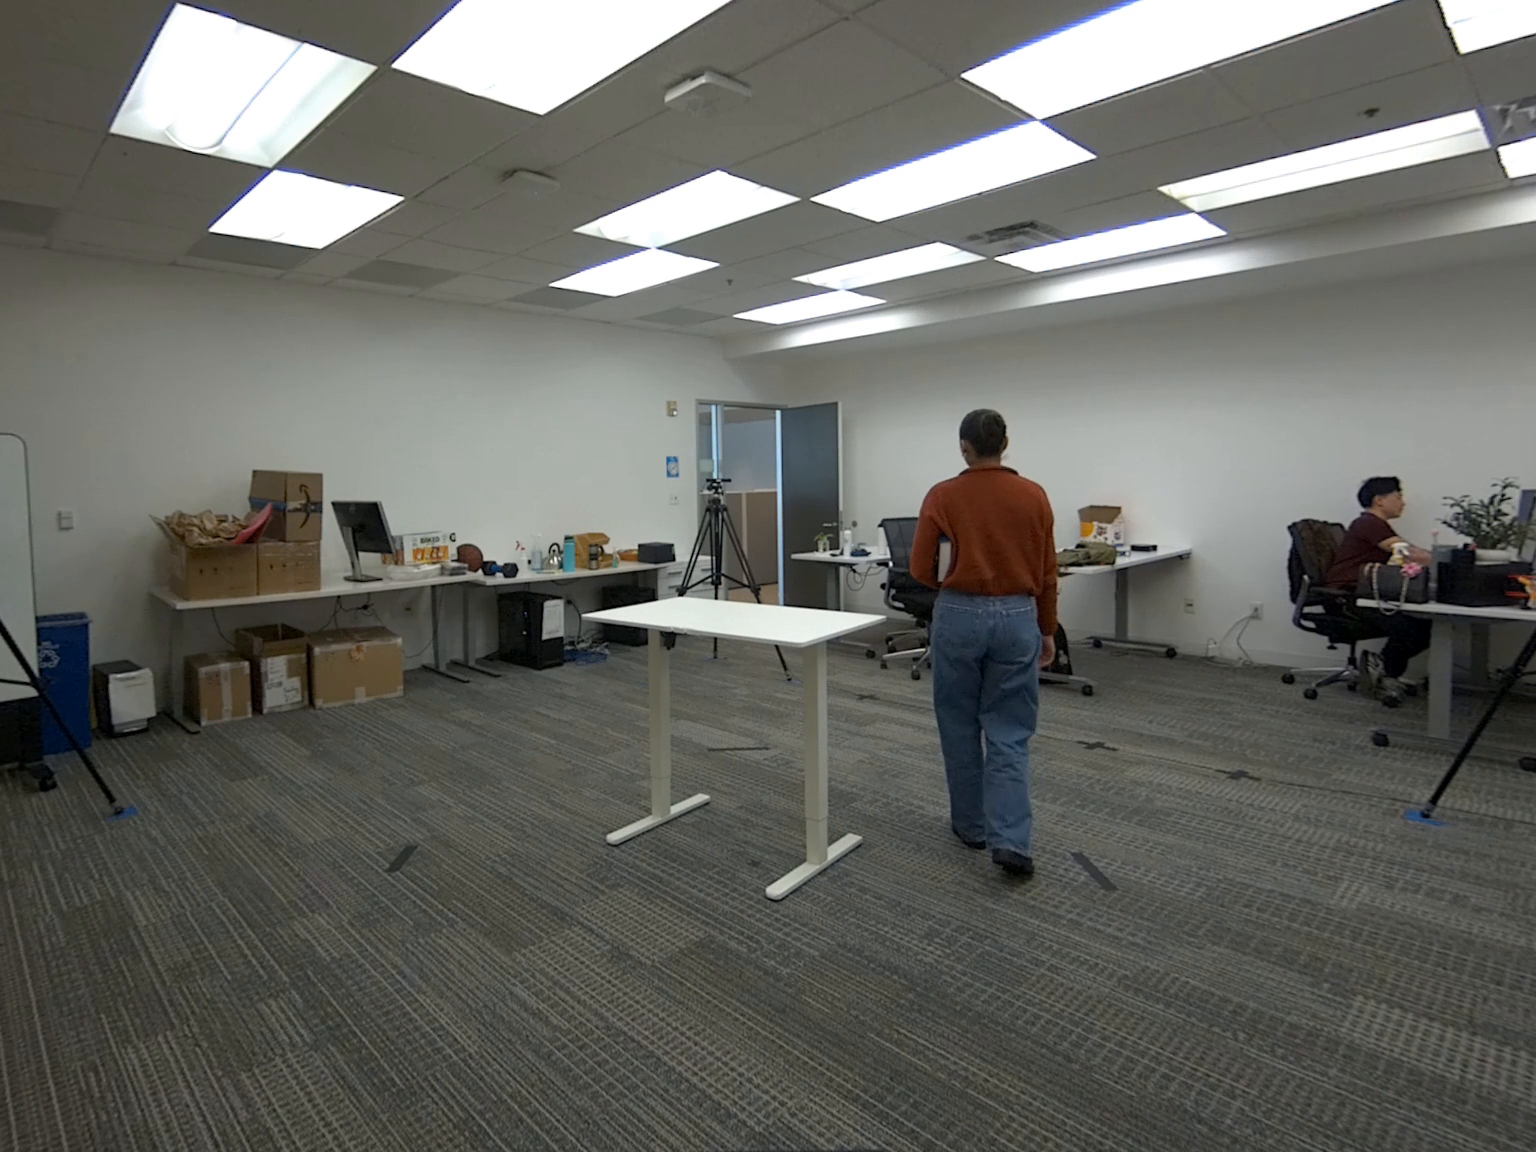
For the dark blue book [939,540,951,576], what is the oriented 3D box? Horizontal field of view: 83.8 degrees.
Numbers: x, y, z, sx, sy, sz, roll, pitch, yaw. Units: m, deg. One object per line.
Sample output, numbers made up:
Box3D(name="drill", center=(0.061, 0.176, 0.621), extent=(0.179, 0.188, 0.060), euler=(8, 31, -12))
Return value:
Box3D(name="dark blue book", center=(0.658, -0.112, 3.154), extent=(0.045, 0.160, 0.248), euler=(-1, 21, 3))
